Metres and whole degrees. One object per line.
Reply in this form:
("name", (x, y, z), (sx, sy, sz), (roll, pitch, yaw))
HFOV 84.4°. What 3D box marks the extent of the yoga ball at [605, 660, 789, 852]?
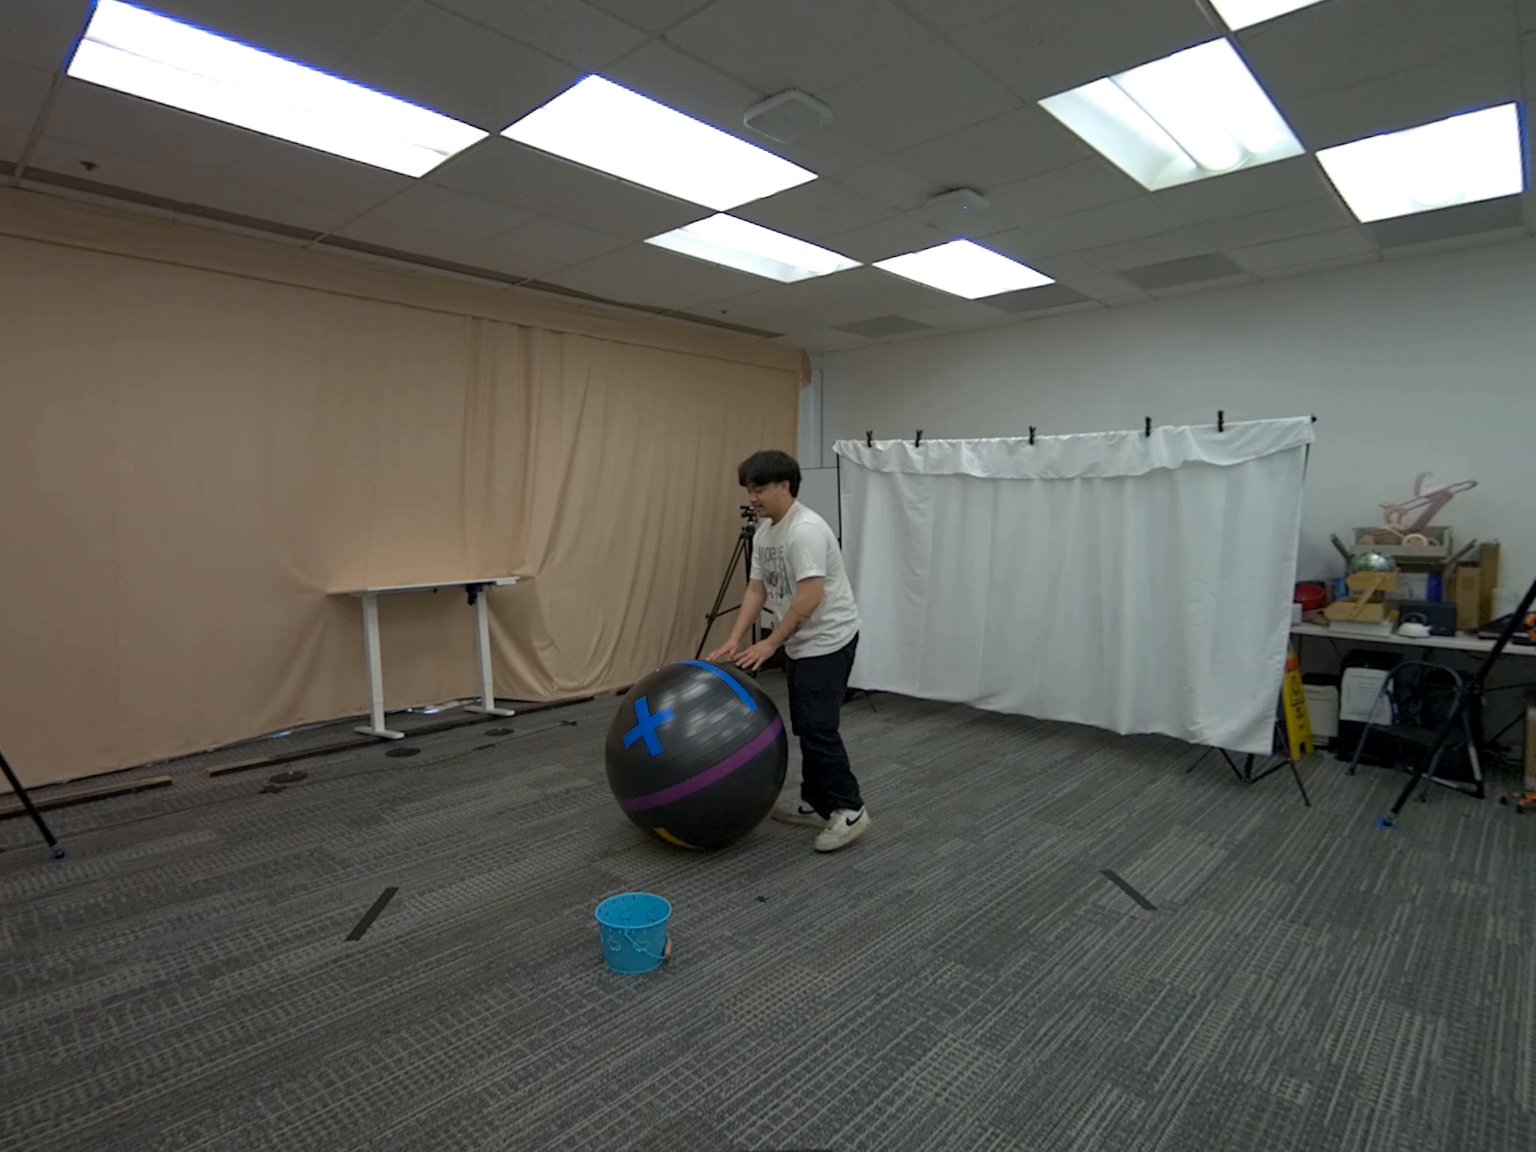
("yoga ball", (-0.310, 0.737, 3.498), (0.757, 0.756, 0.760), (0, 4, -2))
